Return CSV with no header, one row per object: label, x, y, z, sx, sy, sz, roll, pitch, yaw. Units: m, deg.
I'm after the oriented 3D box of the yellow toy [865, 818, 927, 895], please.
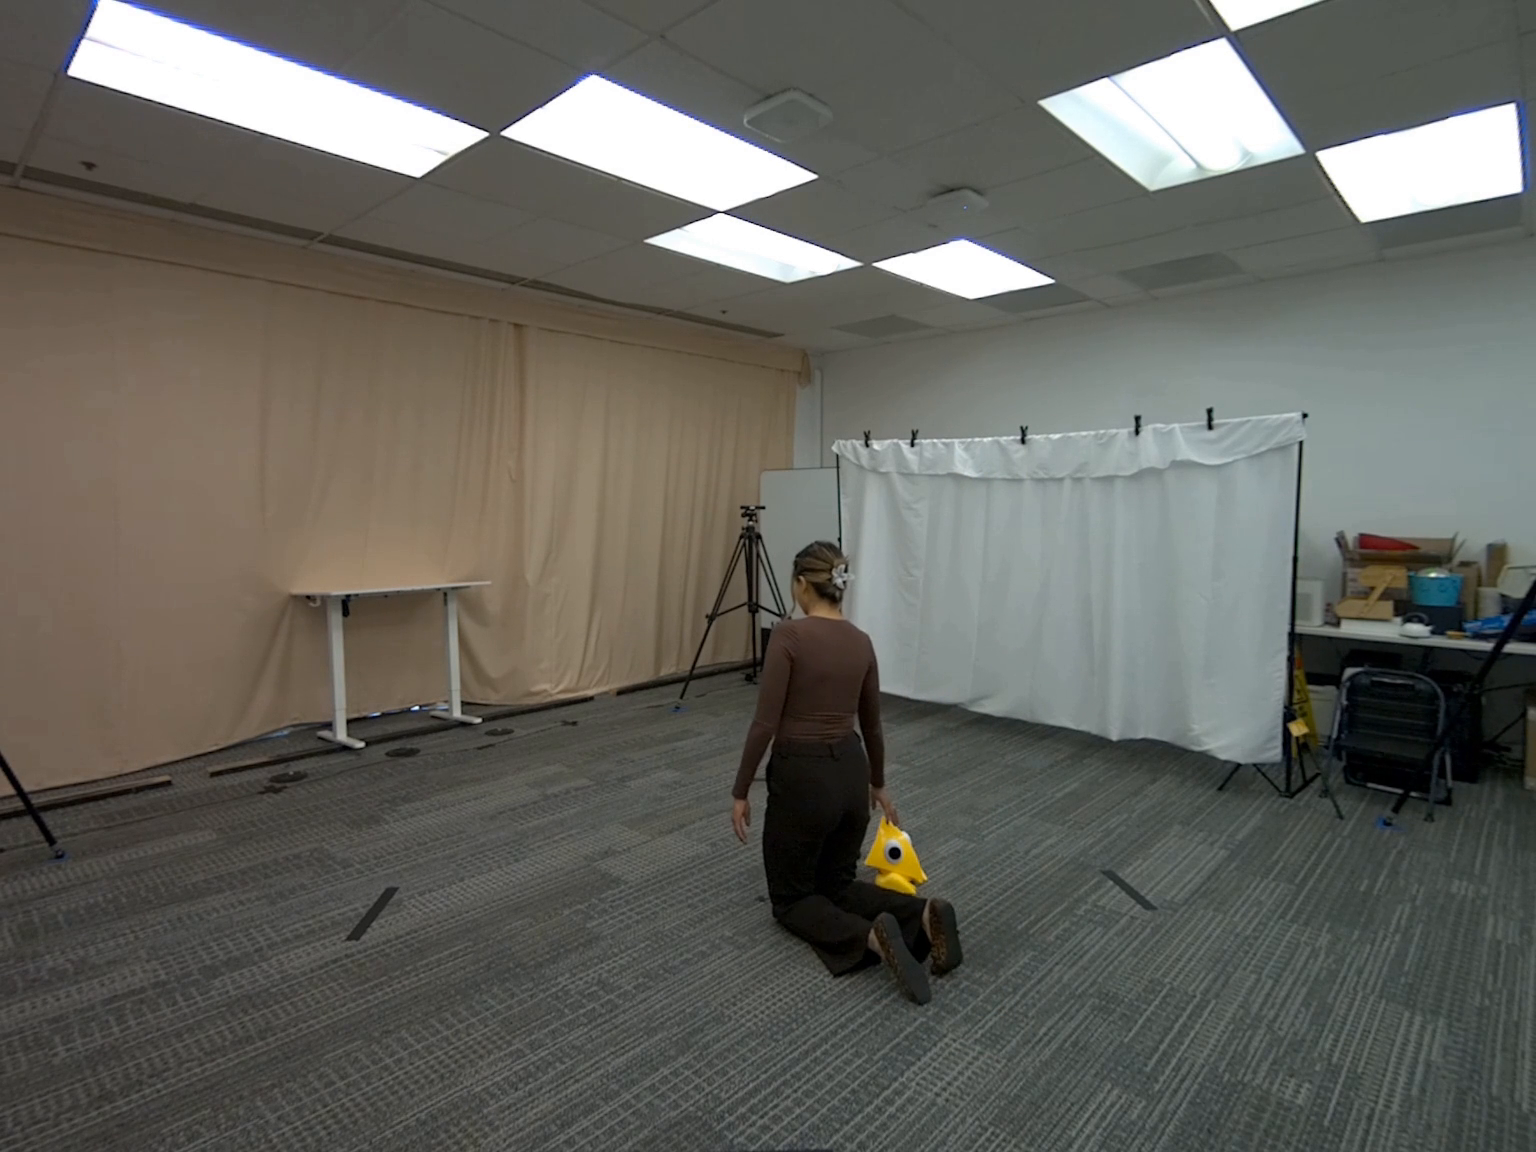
yellow toy,0.486,1.019,3.117,0.199,0.230,0.199,1,3,32
